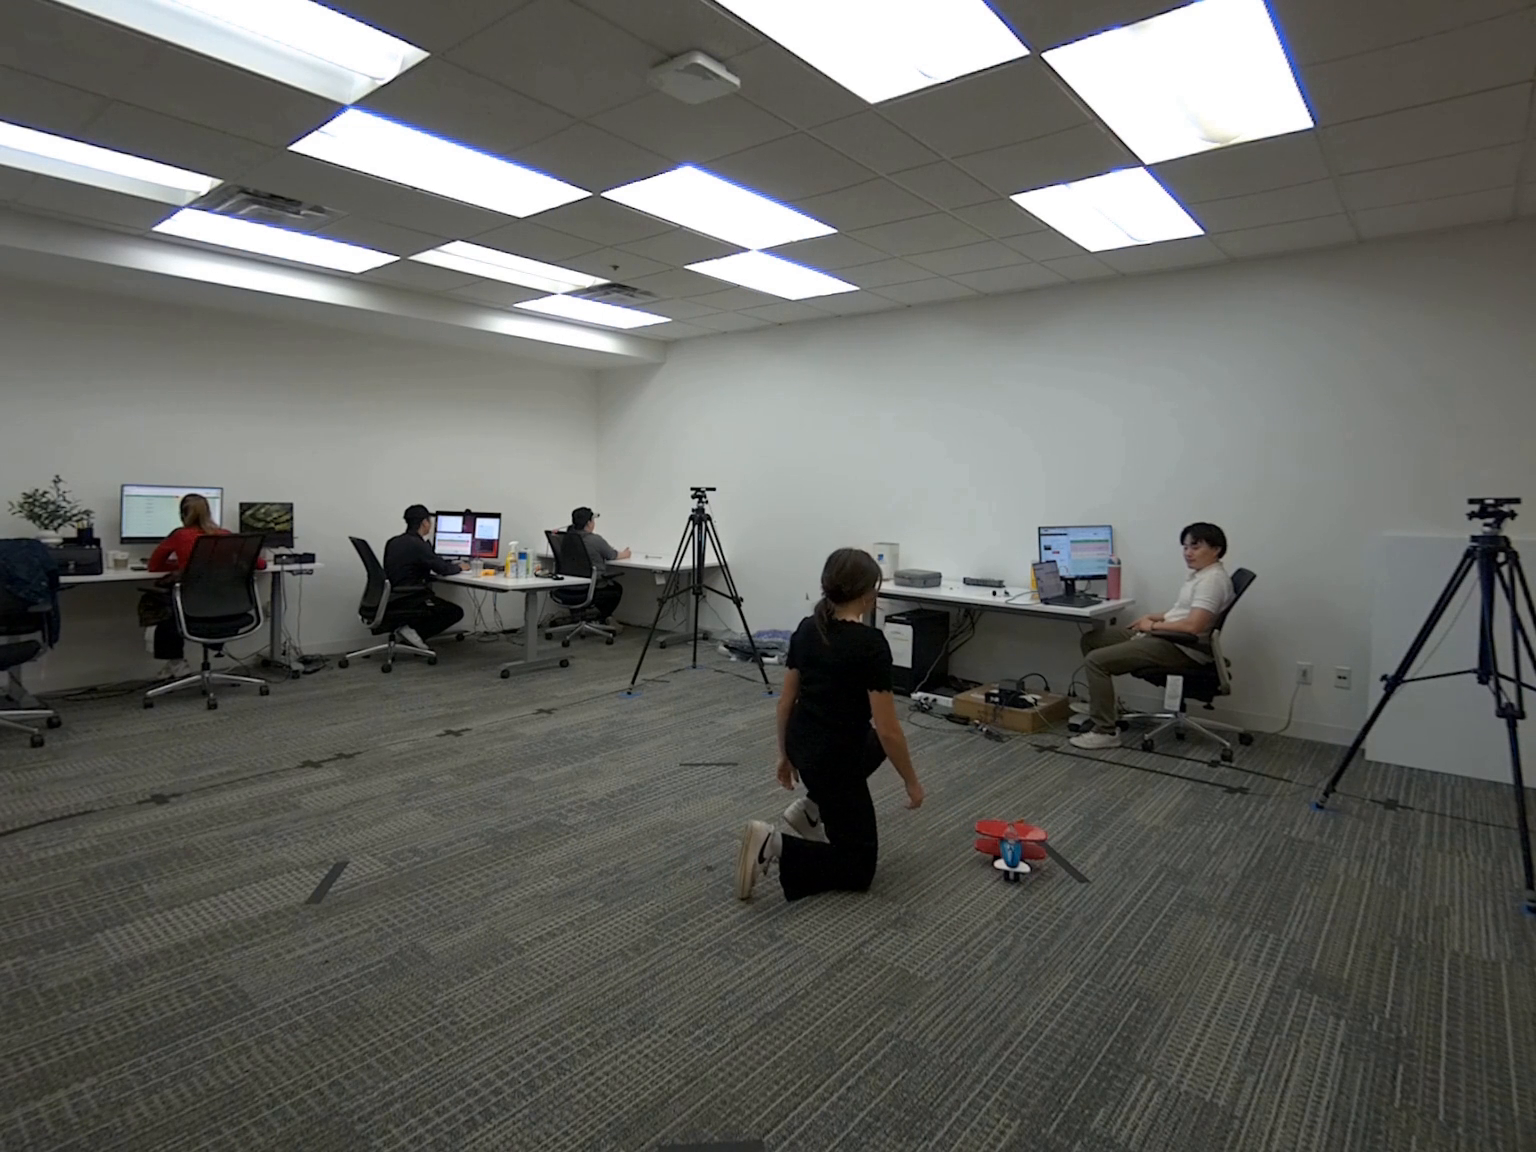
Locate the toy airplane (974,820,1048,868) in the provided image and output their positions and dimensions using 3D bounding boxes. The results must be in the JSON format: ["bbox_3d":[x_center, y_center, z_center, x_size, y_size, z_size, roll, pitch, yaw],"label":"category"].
[{"bbox_3d":[0.928,1.023,3.158,0.247,0.156,0.264,1,4,-14],"label":"toy airplane"}]
